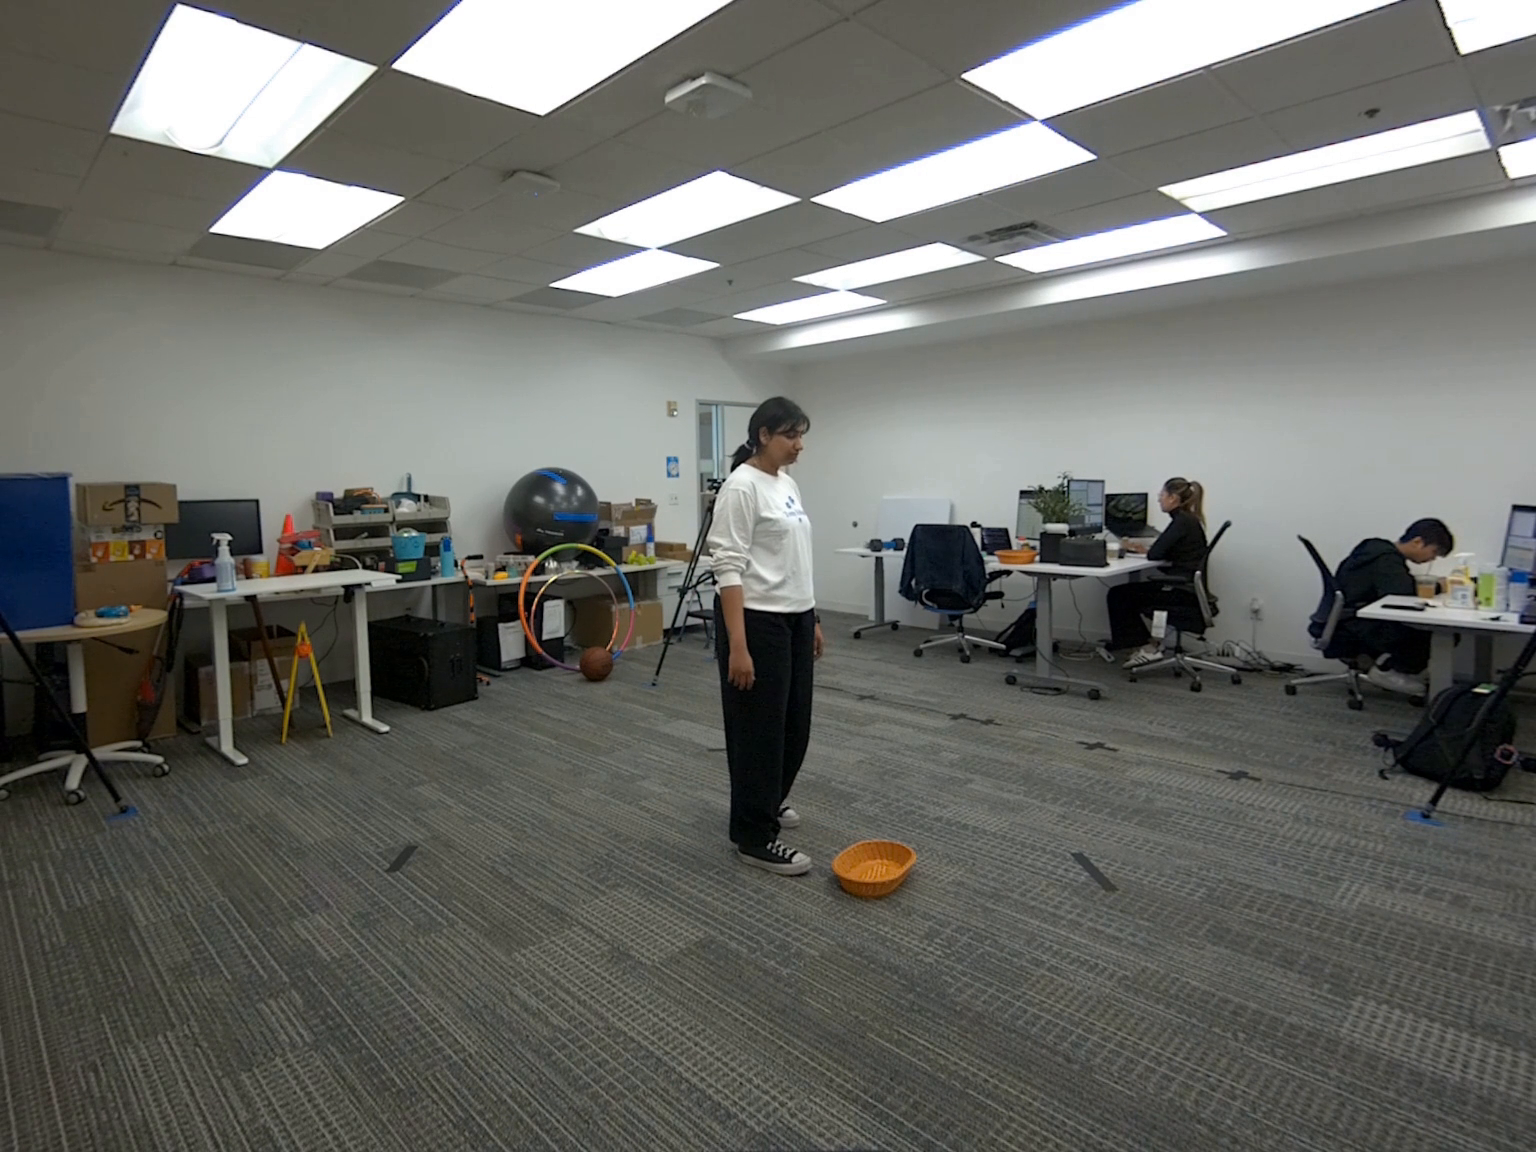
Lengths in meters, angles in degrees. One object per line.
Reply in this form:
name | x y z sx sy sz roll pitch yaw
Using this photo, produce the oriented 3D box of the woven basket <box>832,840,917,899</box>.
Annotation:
woven basket | 0.367 1.011 2.968 0.259 0.073 0.342 2 7 35
